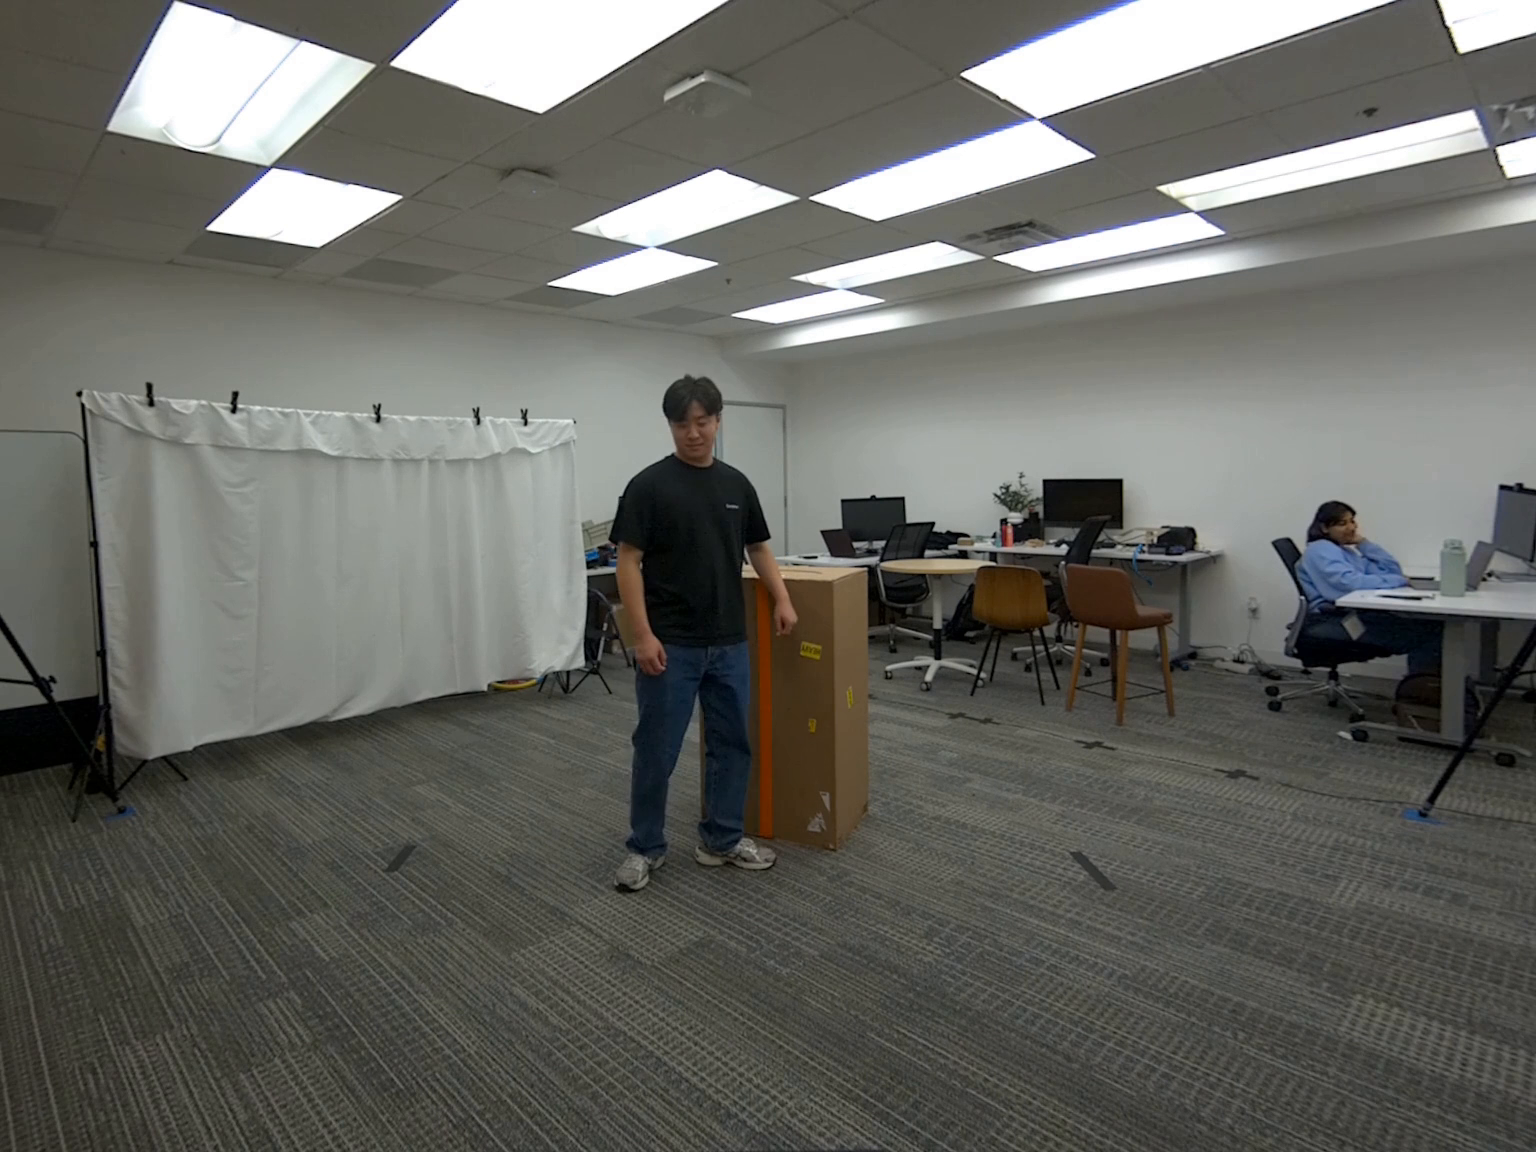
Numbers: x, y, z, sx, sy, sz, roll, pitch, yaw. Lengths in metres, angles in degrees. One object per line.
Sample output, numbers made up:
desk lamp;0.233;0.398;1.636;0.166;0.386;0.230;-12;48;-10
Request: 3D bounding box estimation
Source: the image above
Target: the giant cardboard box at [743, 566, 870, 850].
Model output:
giant cardboard box;0.072;0.485;3.475;0.598;1.022;0.438;2;6;27
